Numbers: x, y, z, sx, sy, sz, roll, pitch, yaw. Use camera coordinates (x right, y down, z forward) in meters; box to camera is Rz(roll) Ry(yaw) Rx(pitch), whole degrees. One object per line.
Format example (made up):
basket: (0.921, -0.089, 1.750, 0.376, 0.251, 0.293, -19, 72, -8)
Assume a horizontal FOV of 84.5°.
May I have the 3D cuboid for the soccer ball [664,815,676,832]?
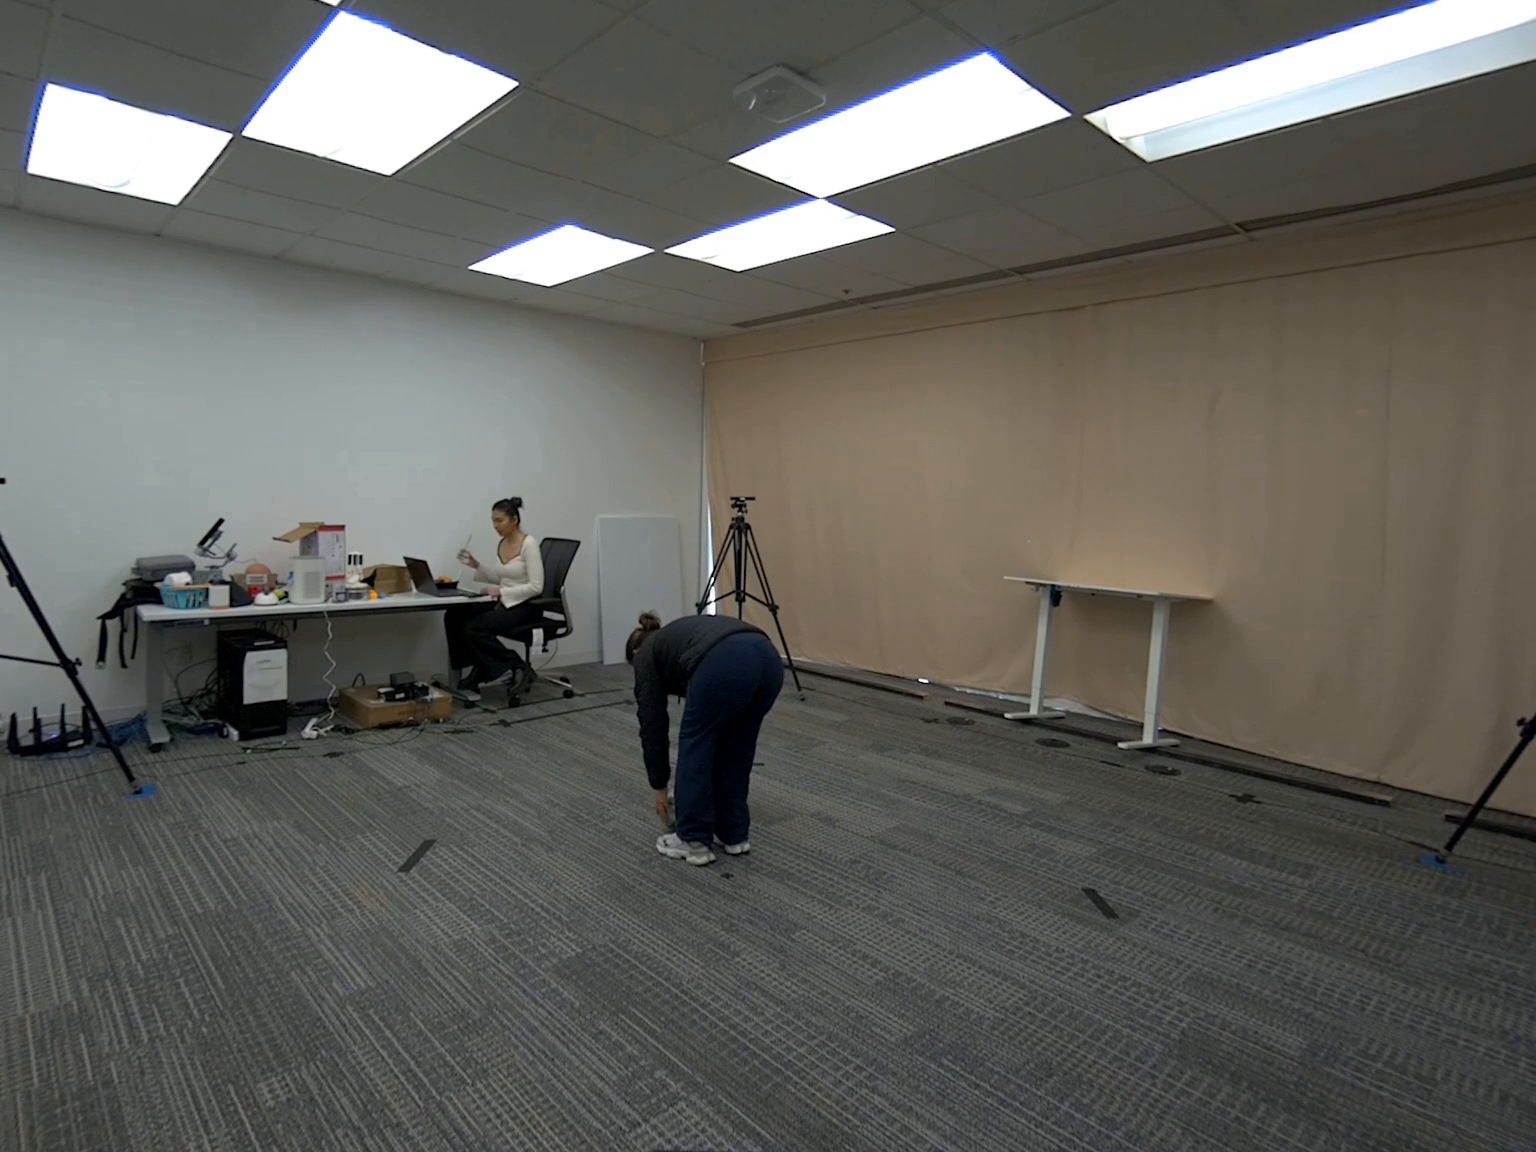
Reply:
soccer ball: (-0.351, 0.964, 3.505, 0.187, 0.187, 0.188, 1, 4, -1)
